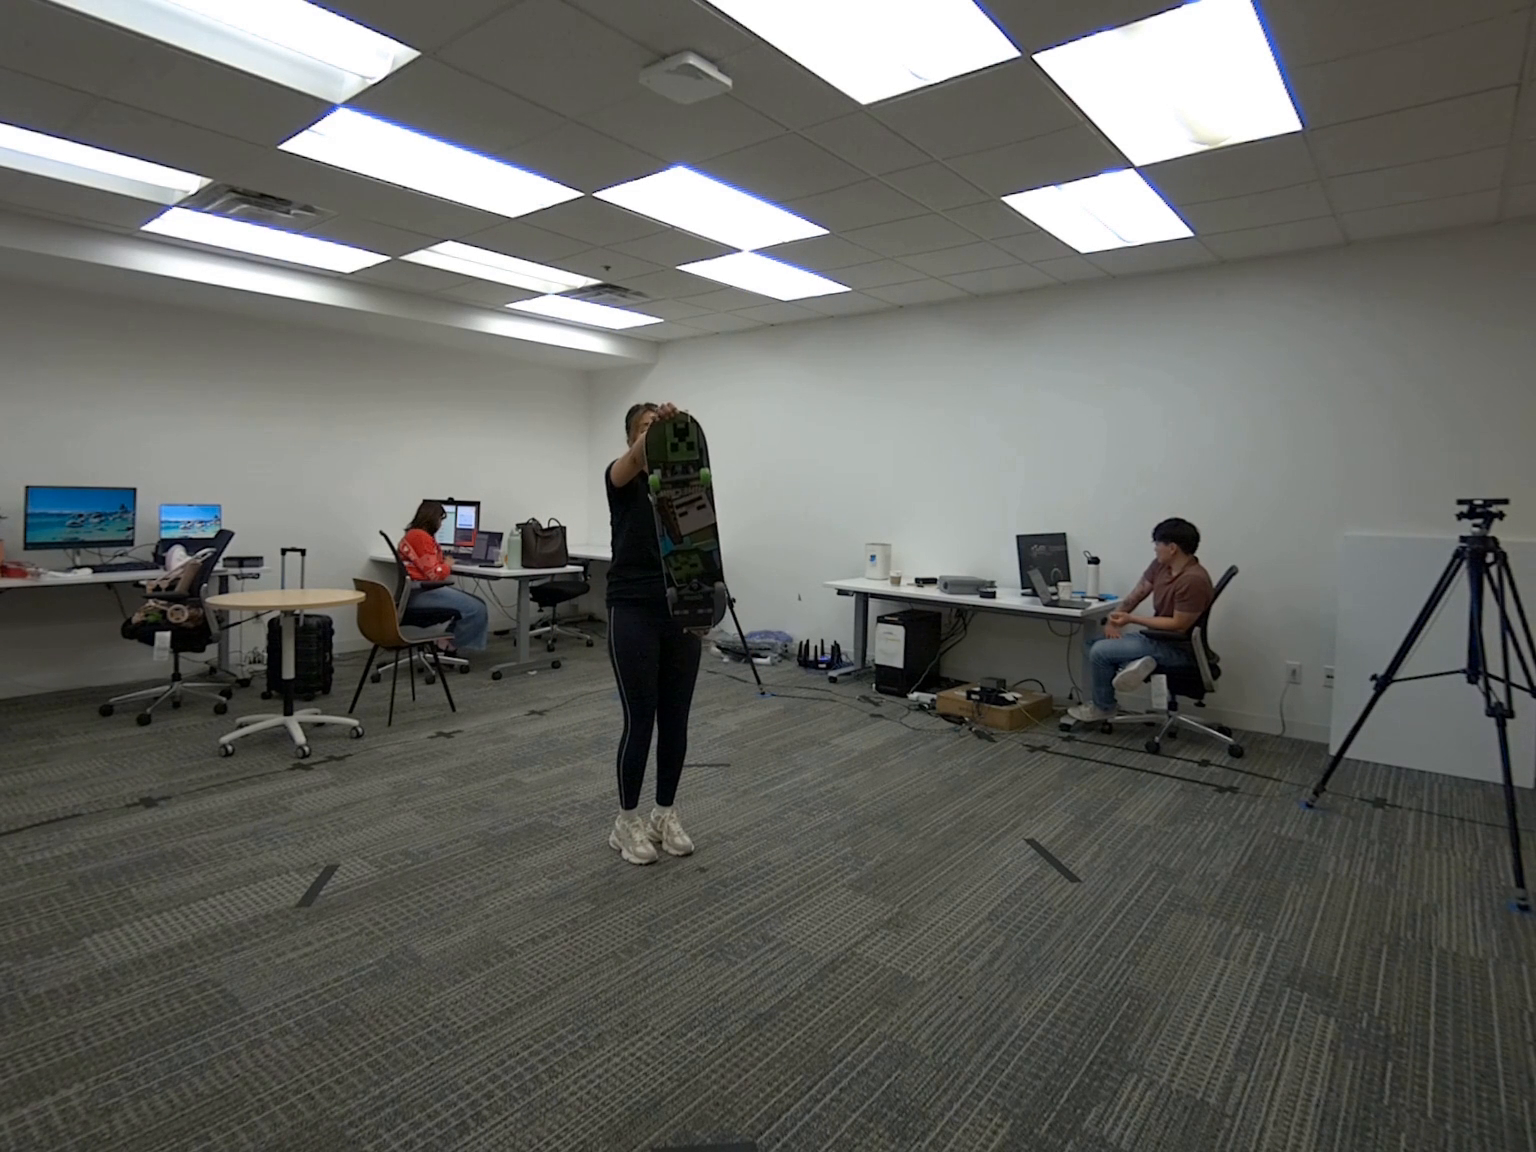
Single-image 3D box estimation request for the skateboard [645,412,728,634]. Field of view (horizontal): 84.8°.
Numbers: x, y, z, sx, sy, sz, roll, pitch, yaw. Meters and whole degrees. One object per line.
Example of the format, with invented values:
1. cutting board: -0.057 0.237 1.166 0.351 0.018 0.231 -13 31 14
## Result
1. skateboard: -0.256 -0.130 2.688 0.193 0.765 0.113 -7 26 -2
